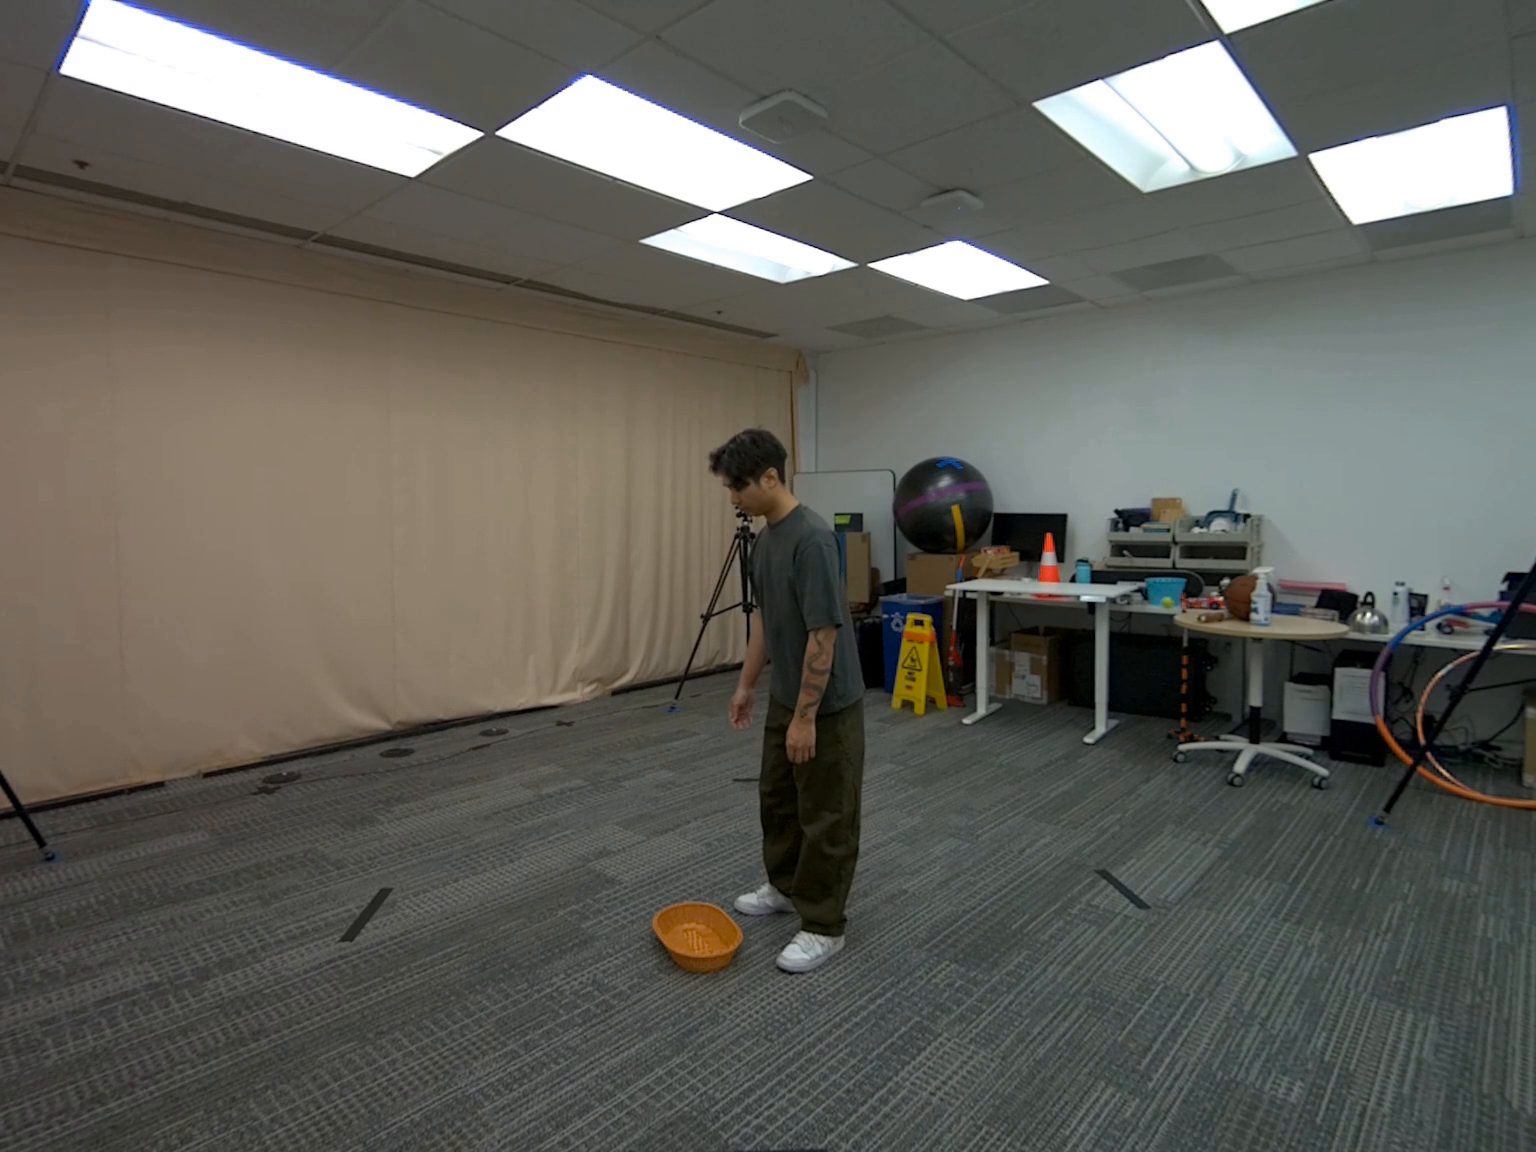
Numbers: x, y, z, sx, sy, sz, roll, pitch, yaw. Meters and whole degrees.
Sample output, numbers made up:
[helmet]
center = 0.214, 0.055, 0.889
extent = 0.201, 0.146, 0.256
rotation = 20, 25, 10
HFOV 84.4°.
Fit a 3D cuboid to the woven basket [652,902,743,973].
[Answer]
[woven basket]
center = -0.226, 1.137, 2.648
extent = 0.247, 0.073, 0.359
rotation = -2, 5, -23
